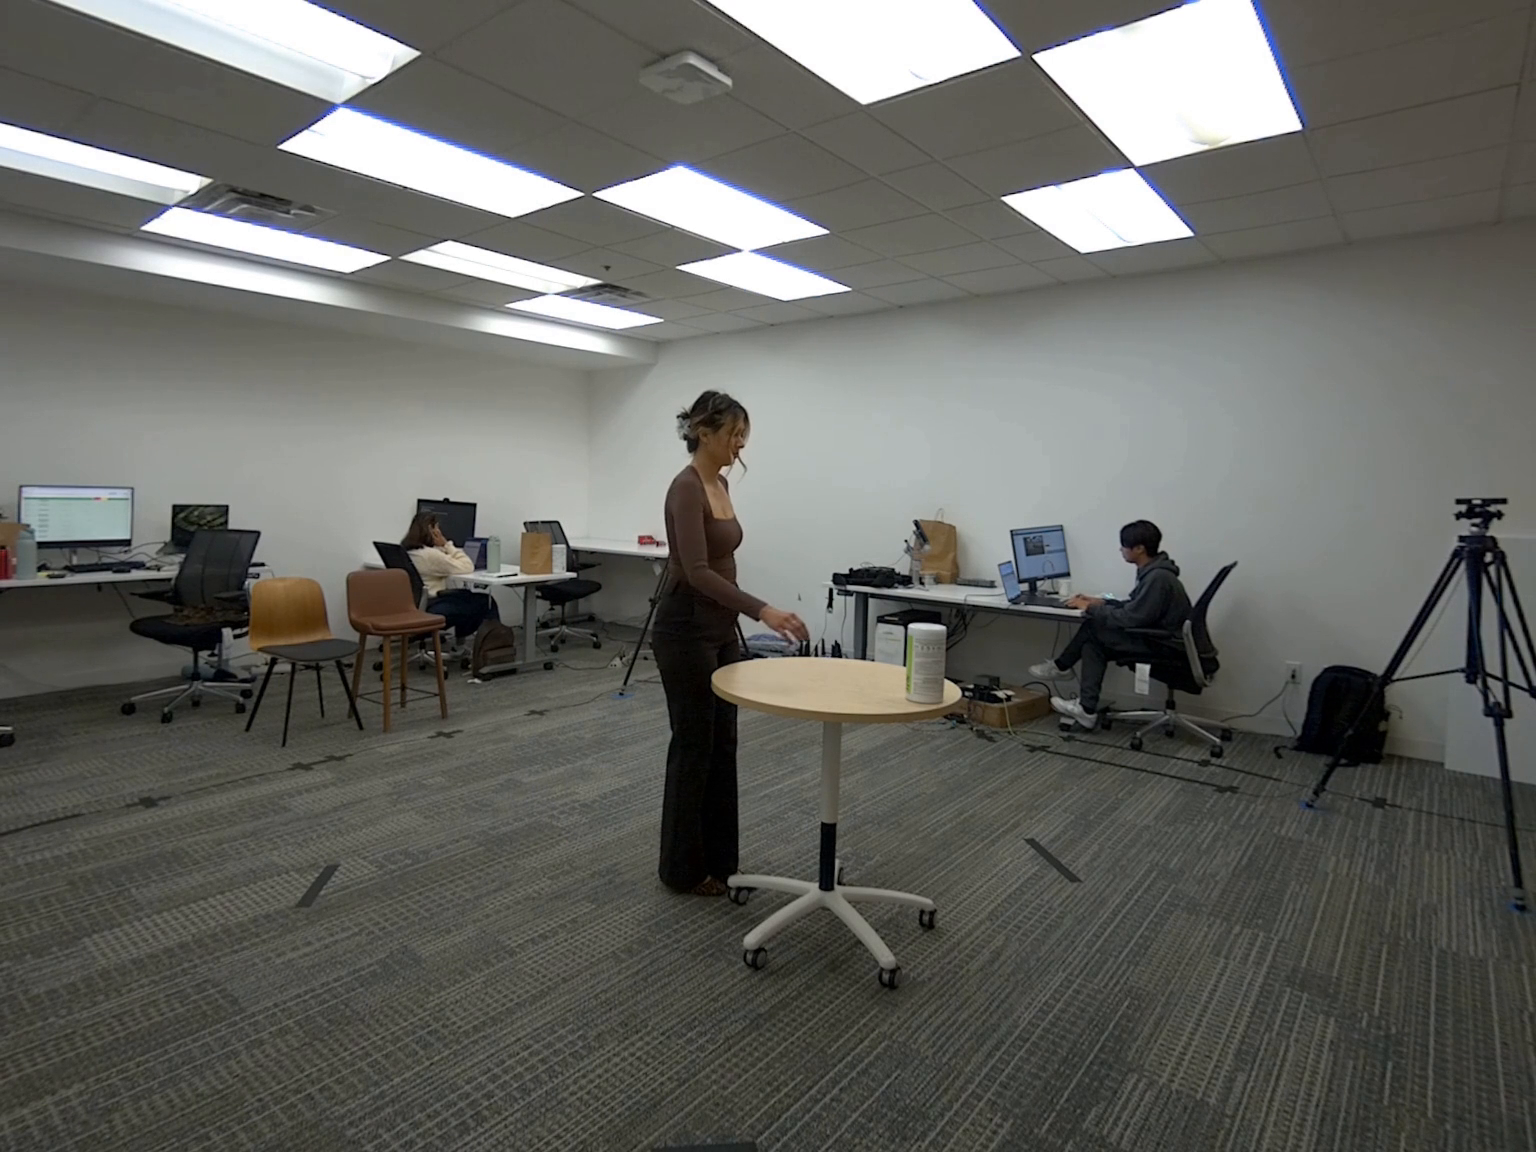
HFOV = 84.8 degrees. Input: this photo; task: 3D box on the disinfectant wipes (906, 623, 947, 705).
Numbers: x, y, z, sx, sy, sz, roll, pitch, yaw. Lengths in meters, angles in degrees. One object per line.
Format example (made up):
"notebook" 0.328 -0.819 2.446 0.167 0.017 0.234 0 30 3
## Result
"disinfectant wipes" 0.453 0.251 2.441 0.117 0.217 0.118 2 4 -2
